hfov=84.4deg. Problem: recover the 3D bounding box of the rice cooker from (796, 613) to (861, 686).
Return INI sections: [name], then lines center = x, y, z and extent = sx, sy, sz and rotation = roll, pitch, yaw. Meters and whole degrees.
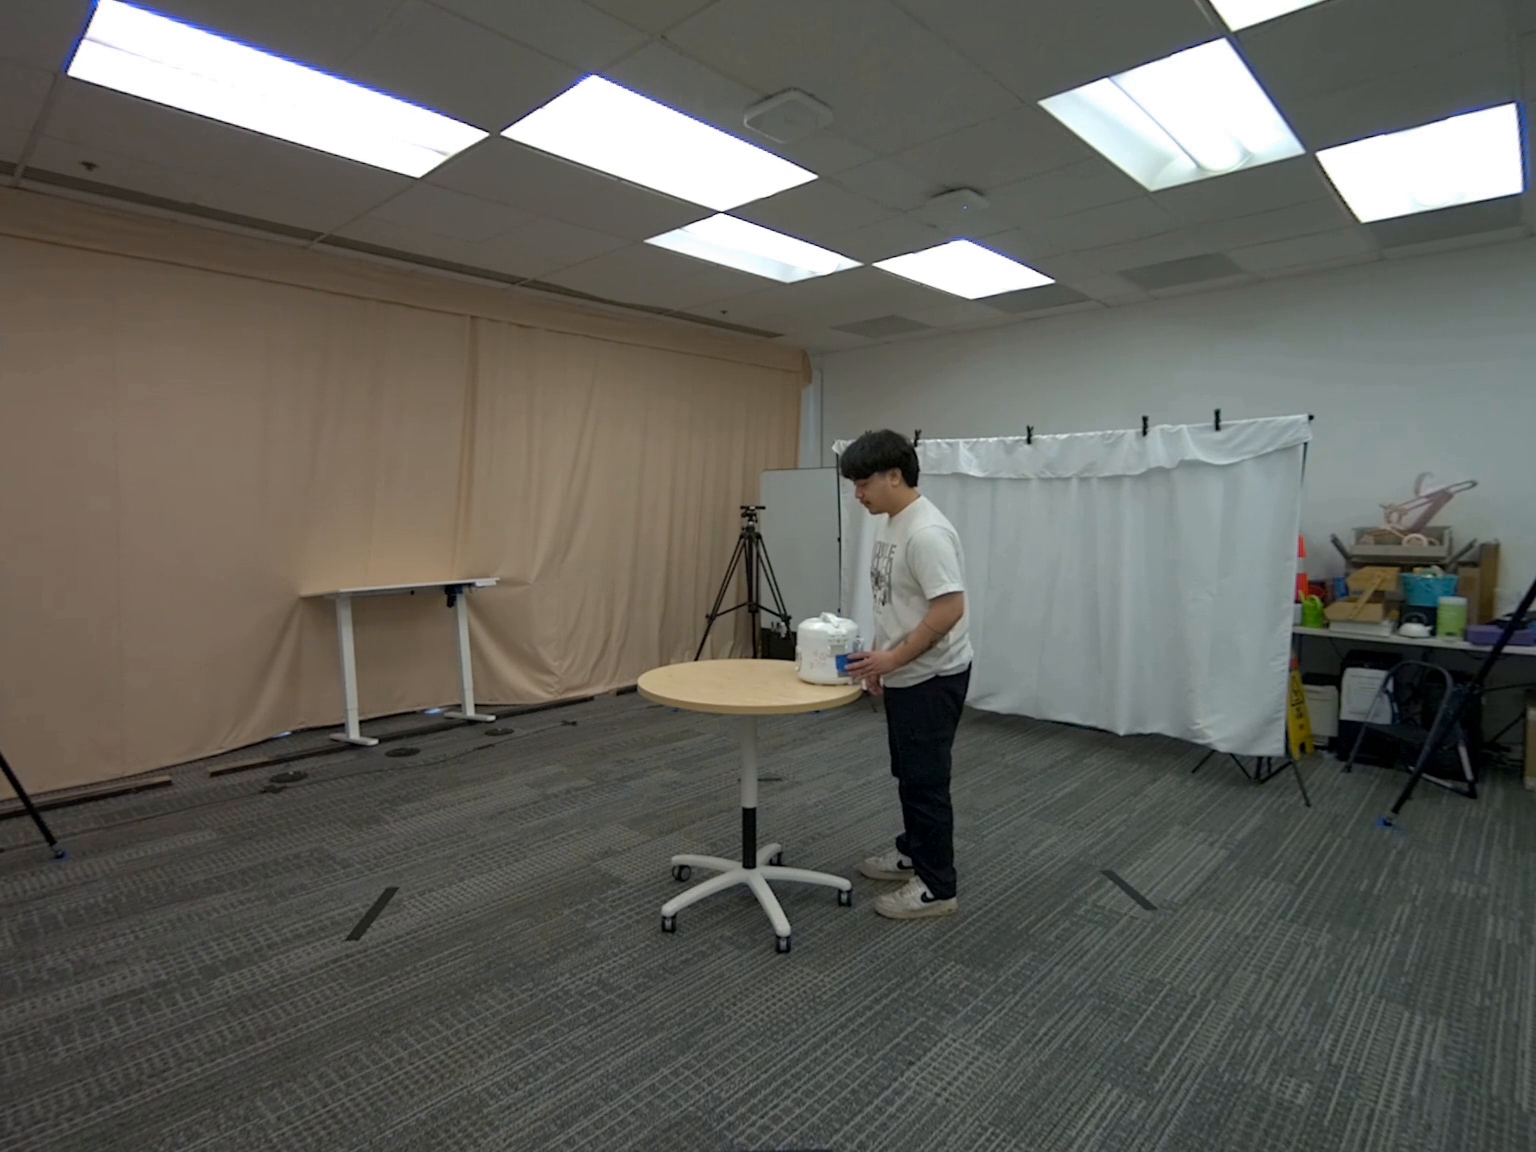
[rice cooker]
center = 0.208, 0.245, 2.866
extent = 0.215, 0.232, 0.223
rotation = 1, 3, -10
